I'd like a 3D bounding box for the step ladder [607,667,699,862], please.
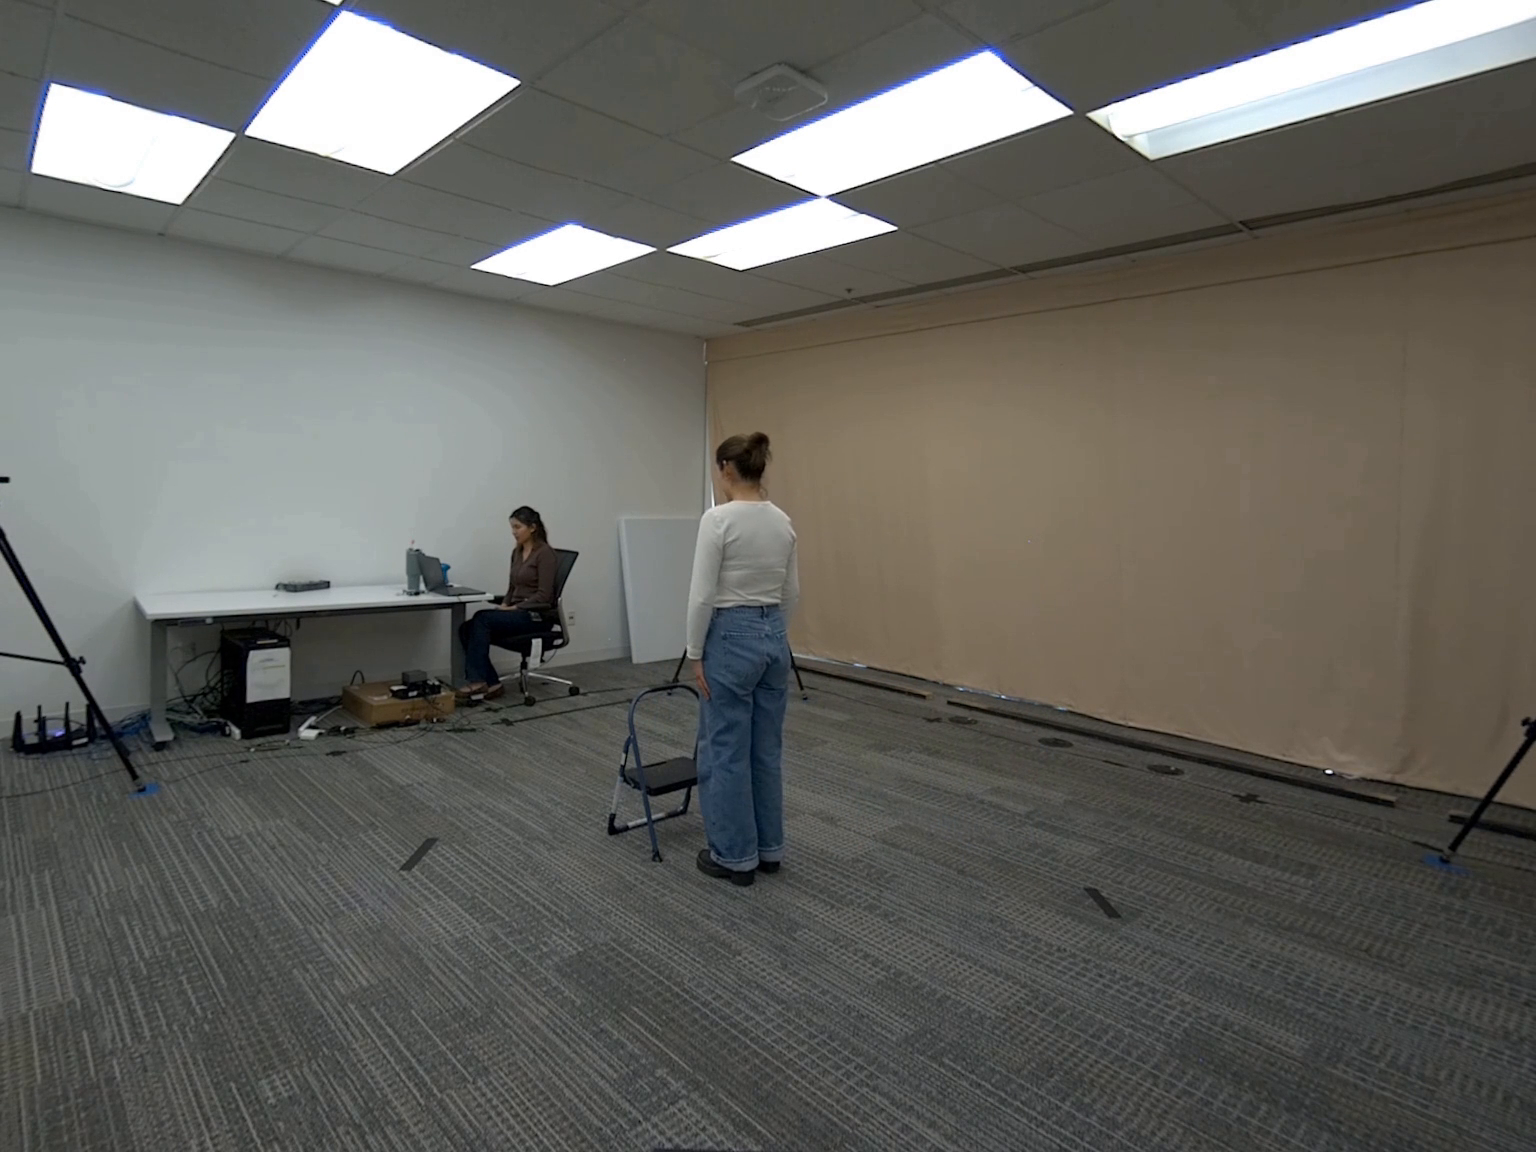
[{"bbox_3d":[-0.388,0.762,3.446,0.421,0.604,0.358,-2,5,-45],"label":"step ladder"}]
